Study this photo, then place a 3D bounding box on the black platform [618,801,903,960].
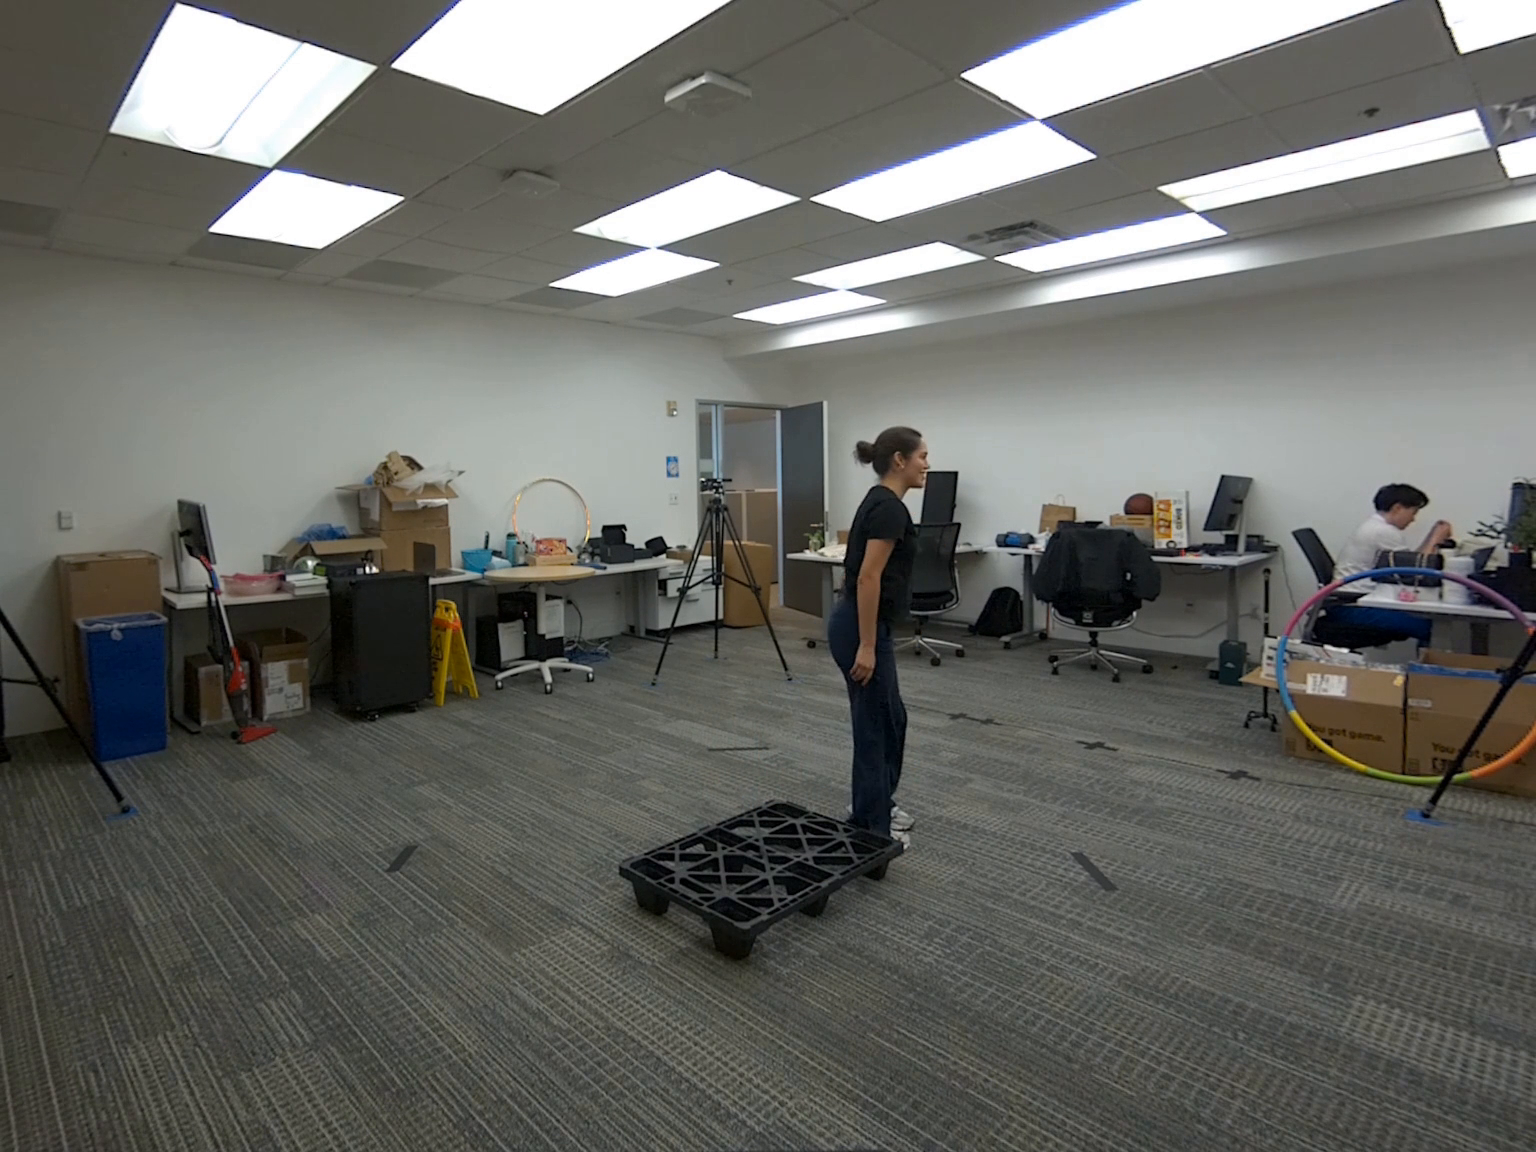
[{"bbox_3d":[-0.007,1.004,2.903,0.624,0.142,0.785,6,10,44],"label":"black platform"}]
